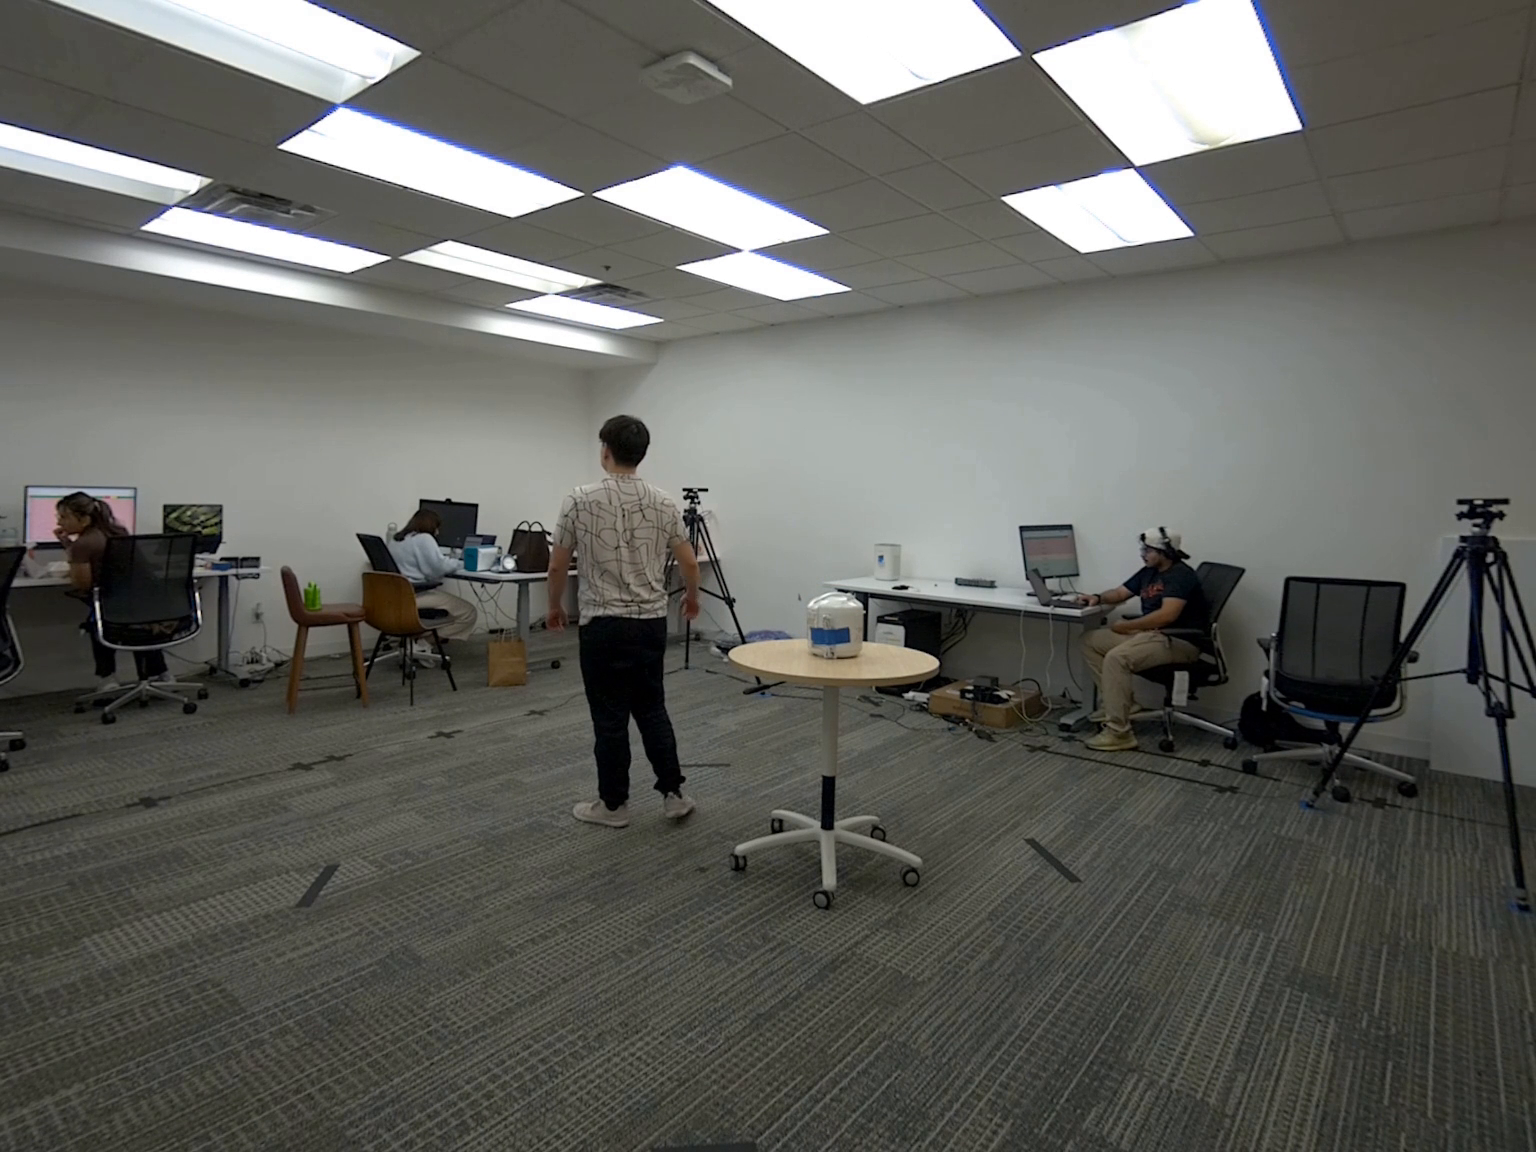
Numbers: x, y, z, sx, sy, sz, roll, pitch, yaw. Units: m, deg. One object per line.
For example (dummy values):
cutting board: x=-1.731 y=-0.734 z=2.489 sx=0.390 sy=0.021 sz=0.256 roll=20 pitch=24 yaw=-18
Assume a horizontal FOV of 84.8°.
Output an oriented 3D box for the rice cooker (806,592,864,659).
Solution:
rice cooker: x=0.239 y=0.173 z=3.170 sx=0.215 sy=0.232 sz=0.224 roll=0 pitch=5 yaw=-26
